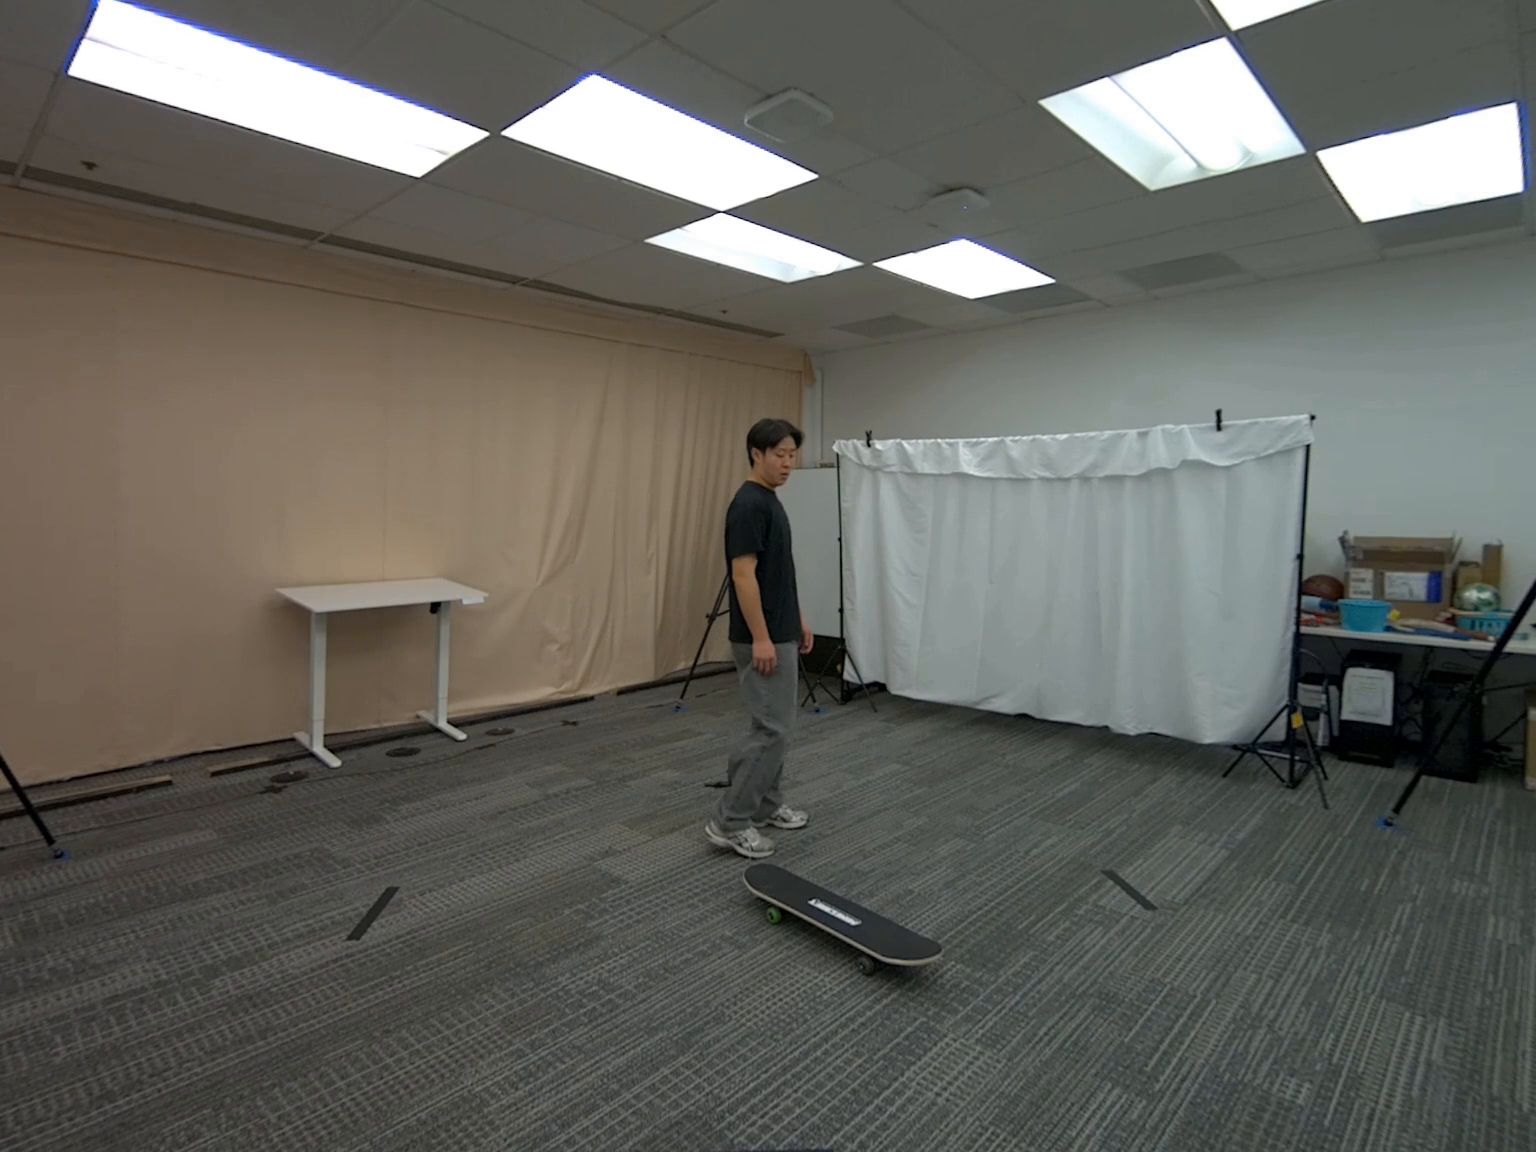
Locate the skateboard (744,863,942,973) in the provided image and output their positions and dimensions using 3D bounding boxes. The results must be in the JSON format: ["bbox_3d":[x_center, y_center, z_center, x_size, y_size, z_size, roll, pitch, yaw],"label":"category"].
[{"bbox_3d":[0.218,1.110,2.702,0.187,0.110,0.812,-3,6,-42],"label":"skateboard"}]
